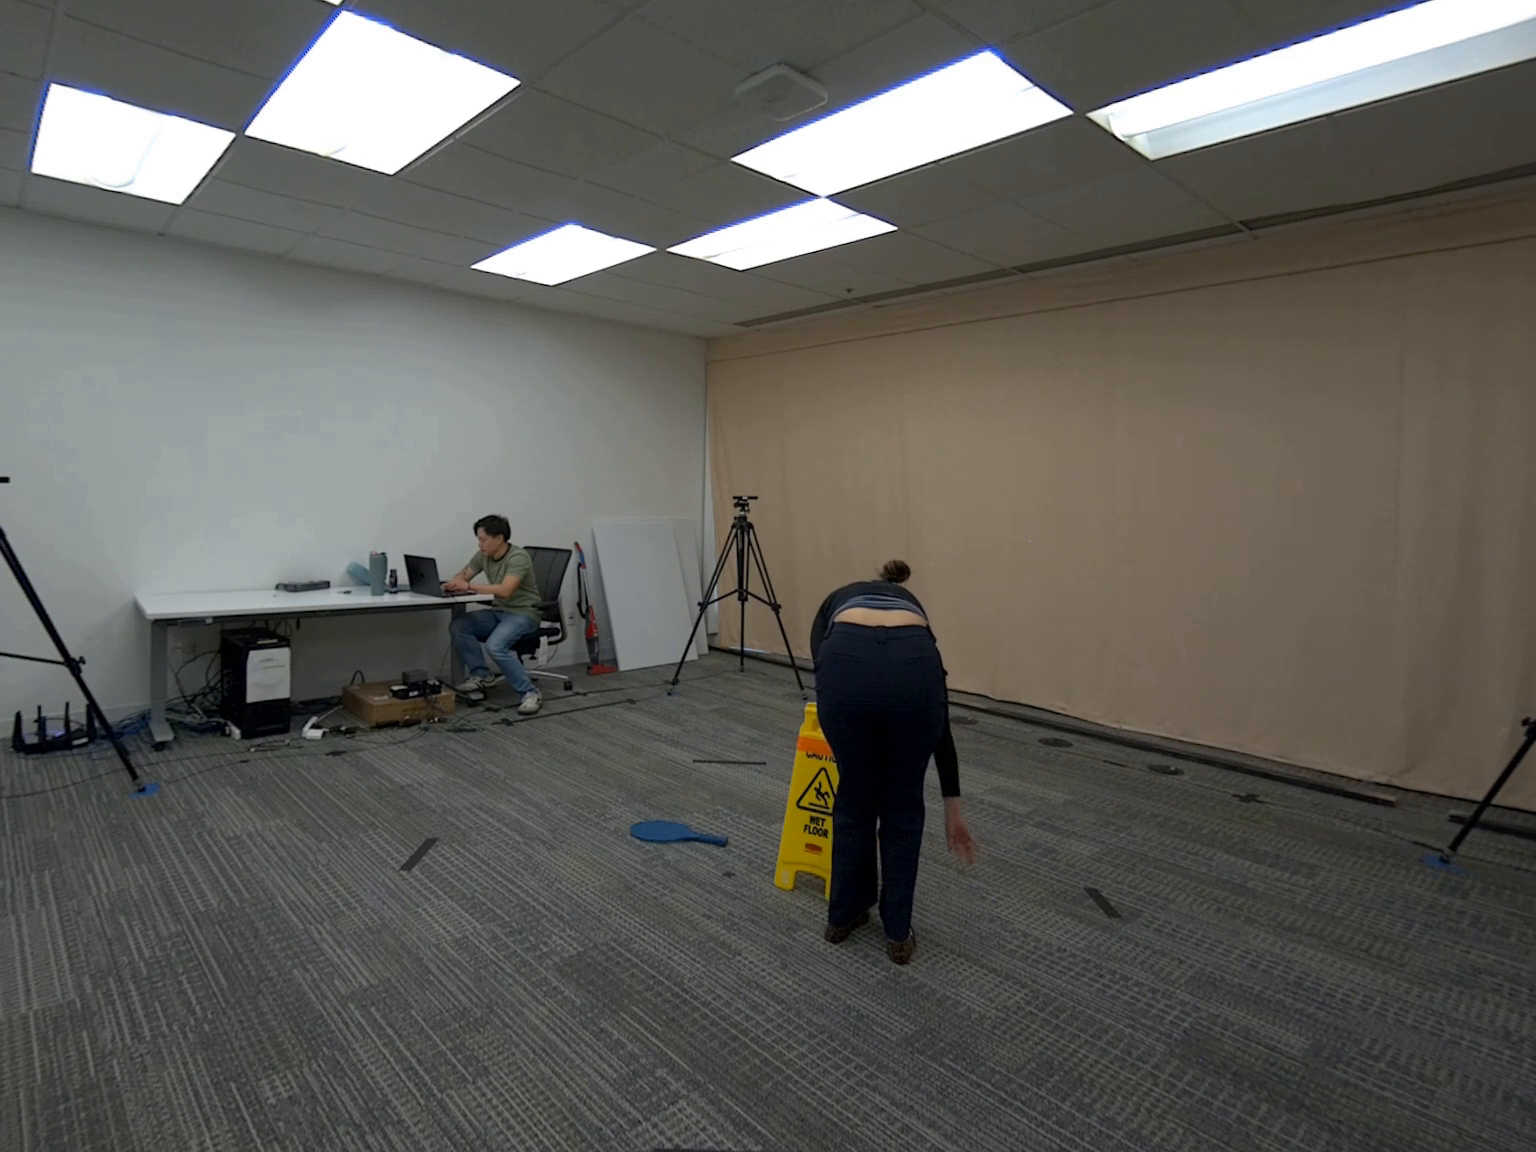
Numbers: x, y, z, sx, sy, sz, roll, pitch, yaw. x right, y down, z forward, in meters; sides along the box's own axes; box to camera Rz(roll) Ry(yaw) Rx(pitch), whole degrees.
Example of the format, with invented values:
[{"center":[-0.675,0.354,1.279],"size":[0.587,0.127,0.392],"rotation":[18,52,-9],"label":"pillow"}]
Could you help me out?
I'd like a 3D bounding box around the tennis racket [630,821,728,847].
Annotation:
[{"center":[-0.346,1.054,3.422],"size":[0.441,0.031,0.210],"rotation":[2,6,25],"label":"tennis racket"}]
